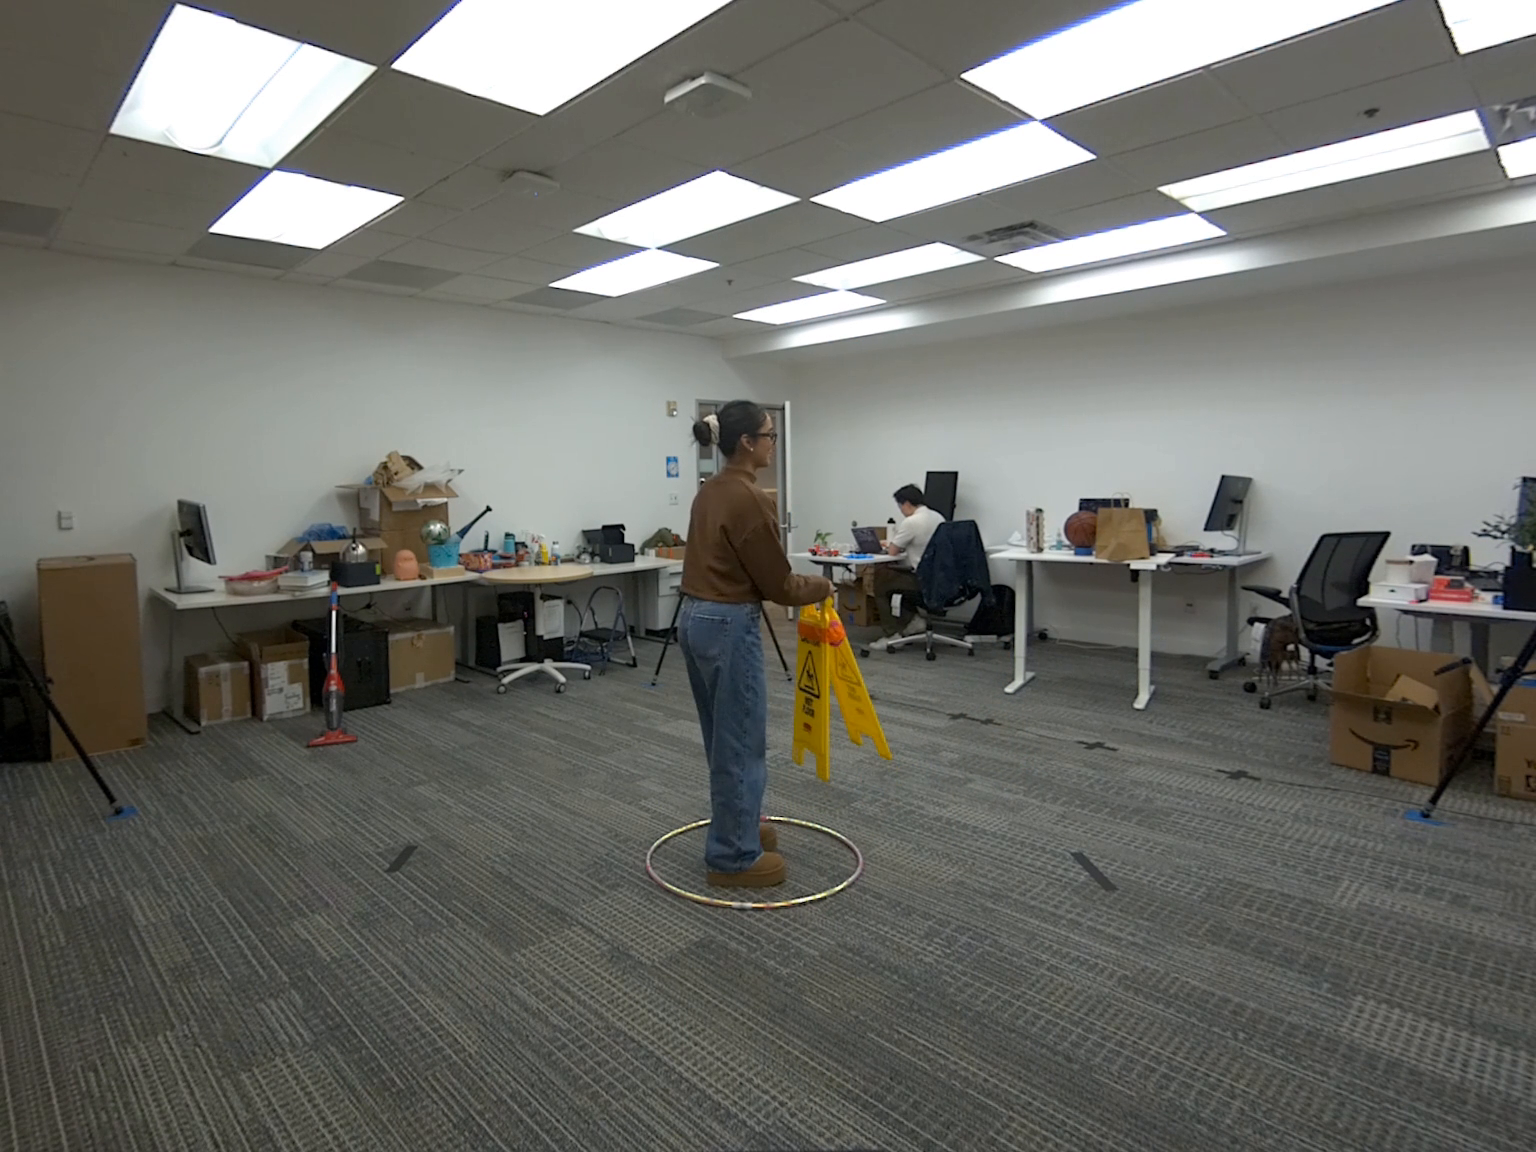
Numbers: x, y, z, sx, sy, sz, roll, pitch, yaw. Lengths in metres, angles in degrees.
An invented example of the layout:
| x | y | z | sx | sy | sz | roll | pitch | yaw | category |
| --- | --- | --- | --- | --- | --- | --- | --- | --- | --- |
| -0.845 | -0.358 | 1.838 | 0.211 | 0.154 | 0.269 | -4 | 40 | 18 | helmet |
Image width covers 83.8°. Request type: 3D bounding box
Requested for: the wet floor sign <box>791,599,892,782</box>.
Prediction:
| x | y | z | sx | sy | sz | roll | pitch | yaw | category |
| --- | --- | --- | --- | --- | --- | --- | --- | --- | --- |
| 0.219 | 0.372 | 3.140 | 0.285 | 0.642 | 0.289 | -11 | 7 | -22 | wet floor sign |
